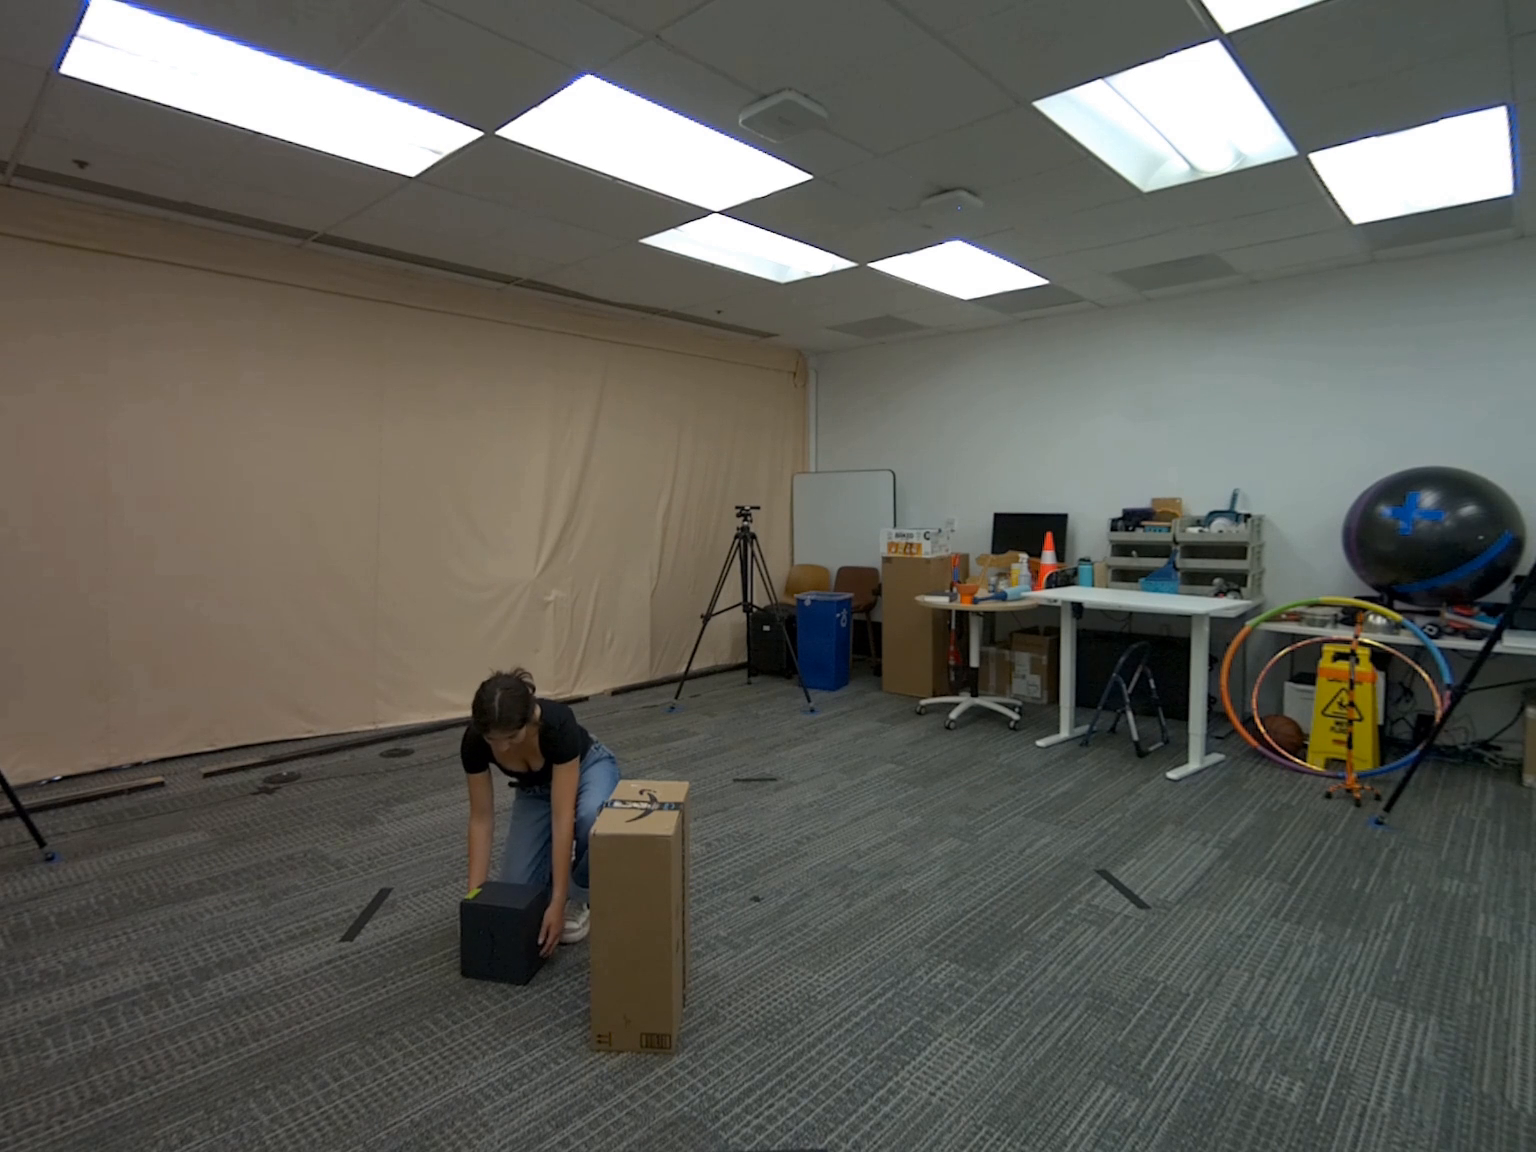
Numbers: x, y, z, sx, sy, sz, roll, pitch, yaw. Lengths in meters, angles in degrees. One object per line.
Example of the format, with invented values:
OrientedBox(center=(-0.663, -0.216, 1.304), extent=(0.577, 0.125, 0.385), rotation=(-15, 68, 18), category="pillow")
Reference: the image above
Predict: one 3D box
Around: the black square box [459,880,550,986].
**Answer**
OrientedBox(center=(-0.792, 1.061, 2.550), extent=(0.220, 0.227, 0.153), rotation=(2, 3, 14), category="black square box")
